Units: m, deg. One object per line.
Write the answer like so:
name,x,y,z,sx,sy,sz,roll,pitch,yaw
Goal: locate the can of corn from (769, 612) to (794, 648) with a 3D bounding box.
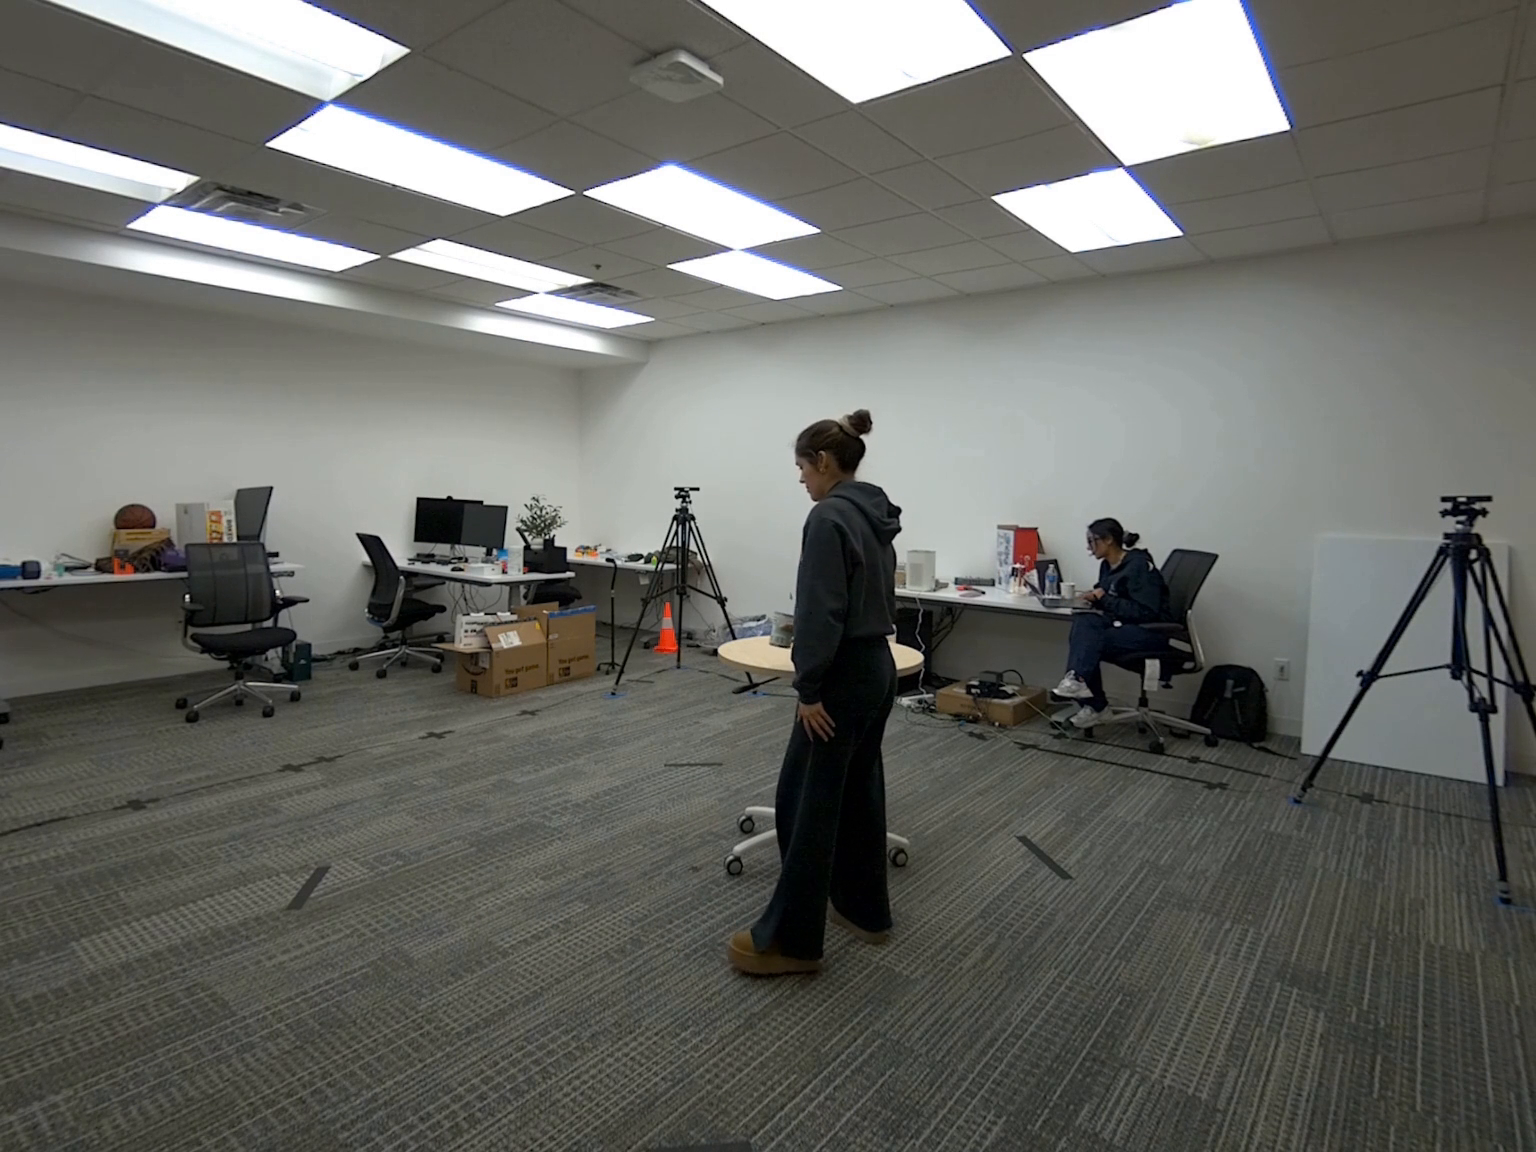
can of corn,0.067,0.183,2.870,0.074,0.111,0.074,7,1,-2
